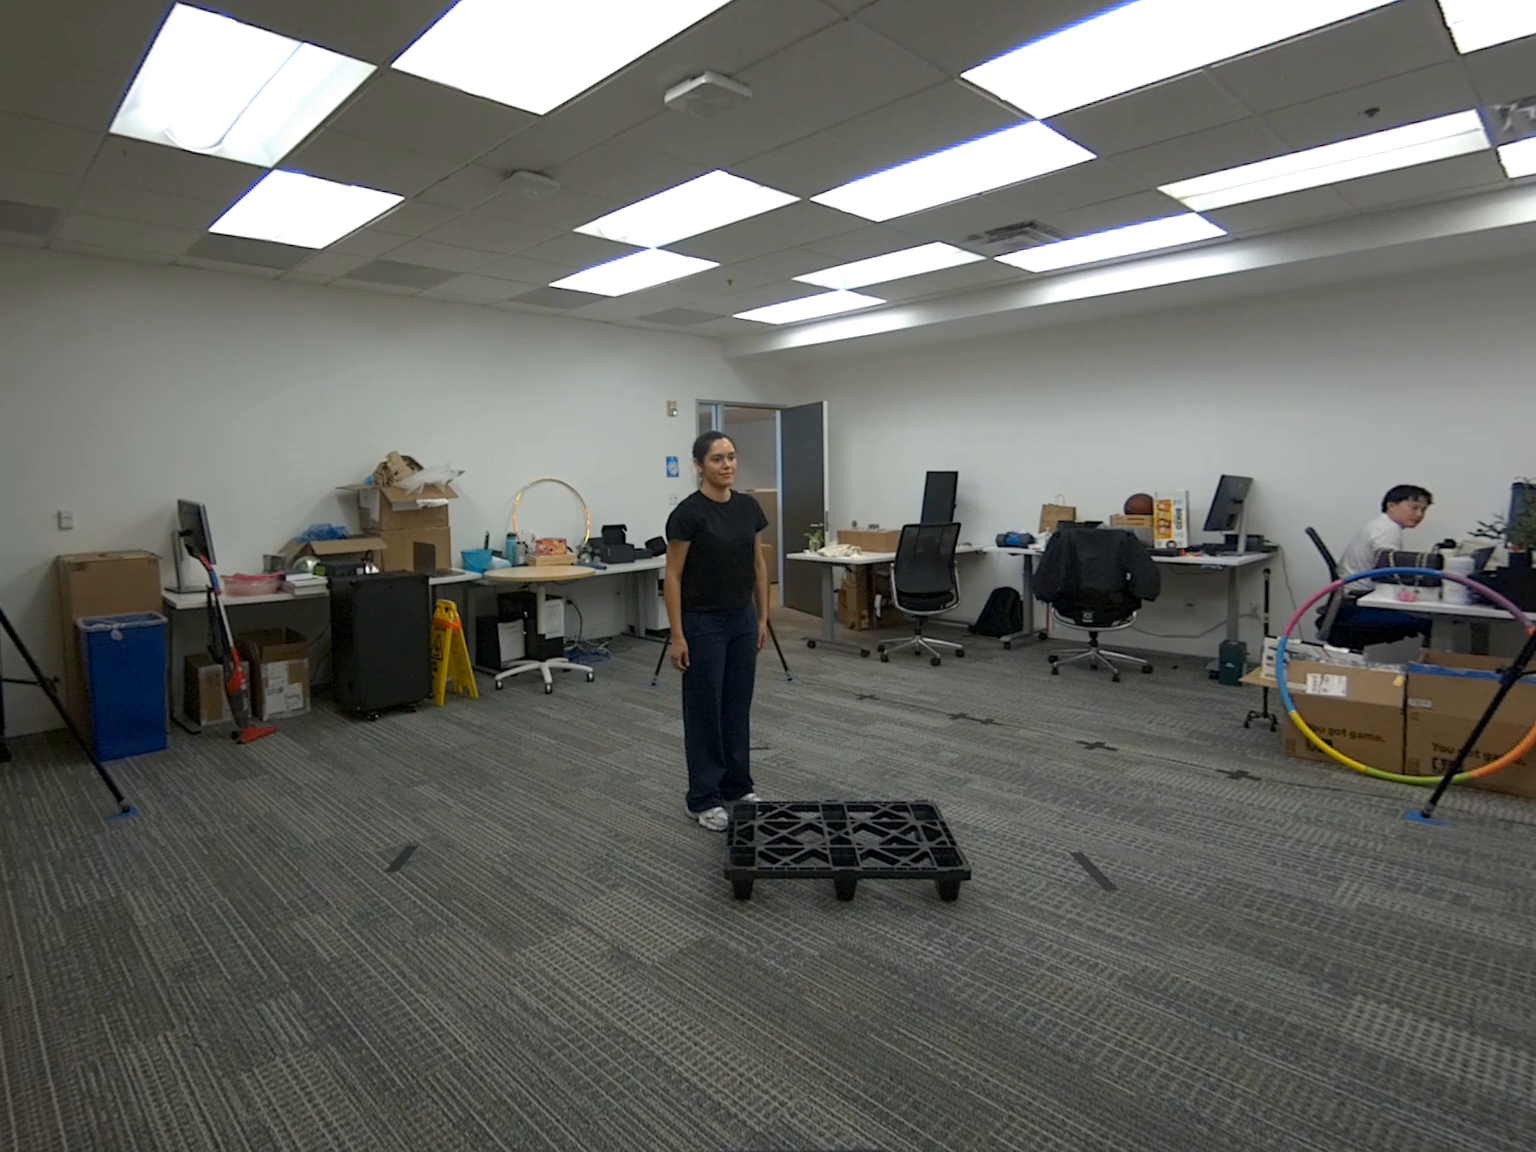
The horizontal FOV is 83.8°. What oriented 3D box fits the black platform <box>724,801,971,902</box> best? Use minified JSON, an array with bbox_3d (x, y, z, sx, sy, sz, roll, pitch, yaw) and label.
[{"bbox_3d":[0.254,0.976,3.060,0.807,0.142,0.607,-1,7,1],"label":"black platform"}]
